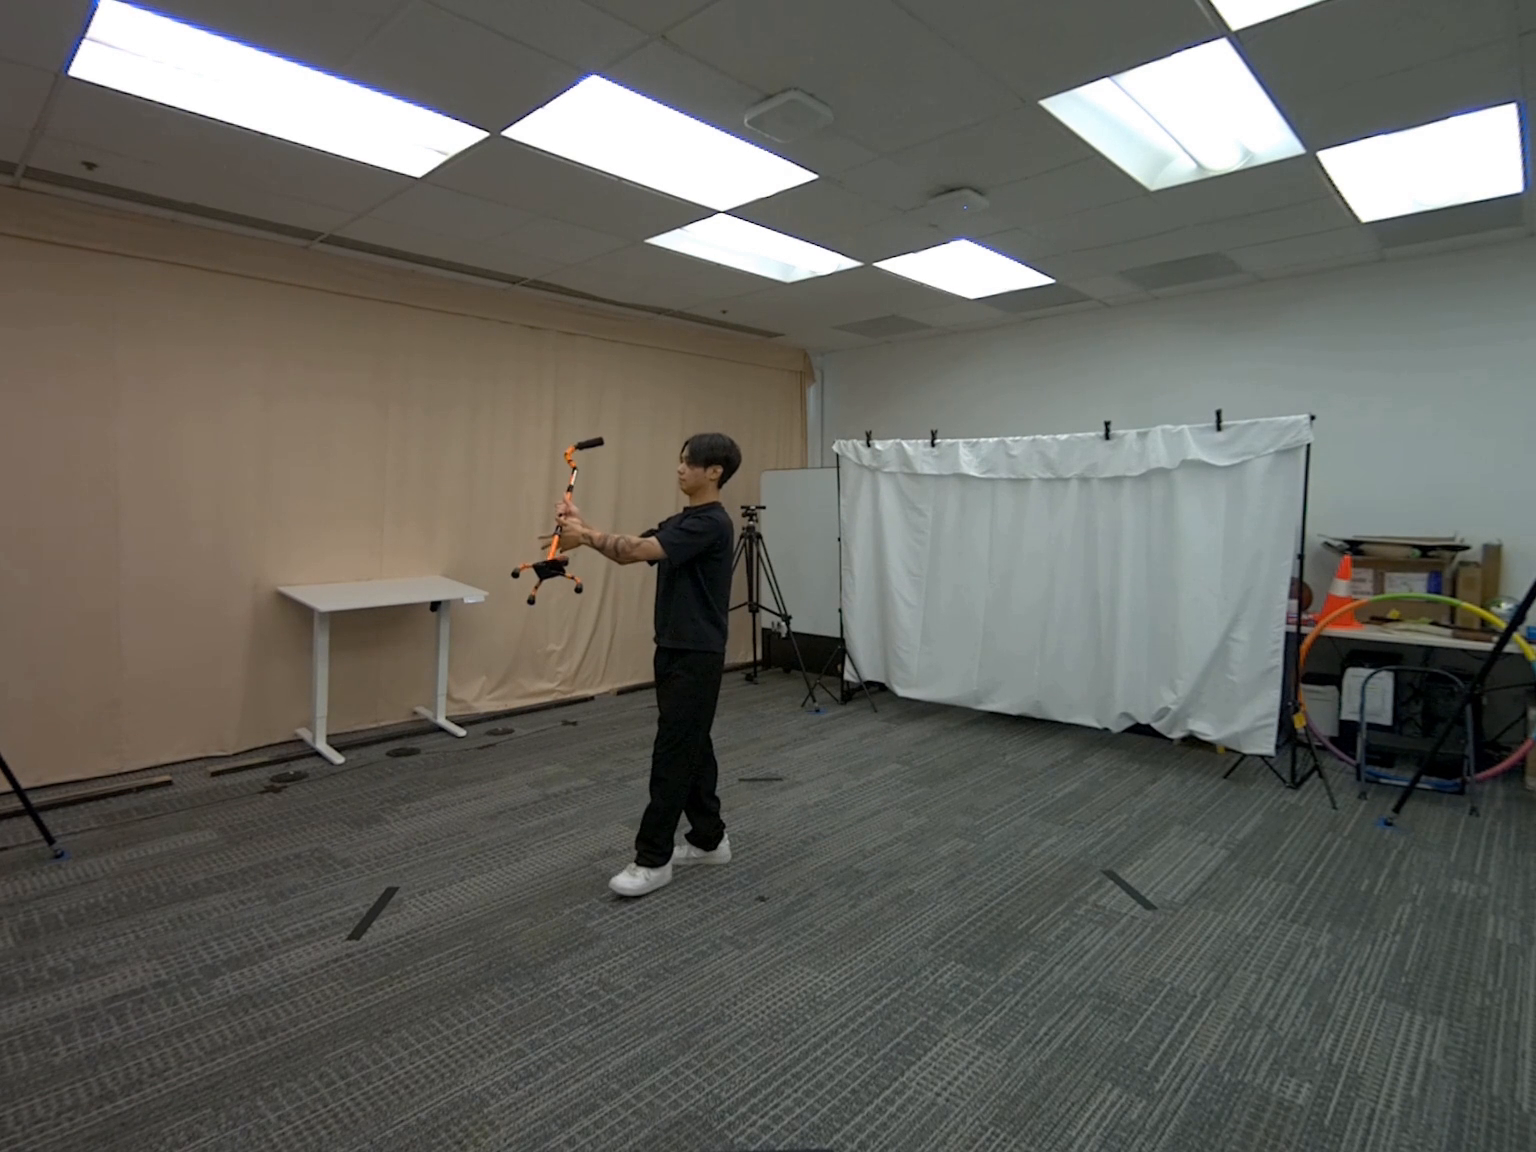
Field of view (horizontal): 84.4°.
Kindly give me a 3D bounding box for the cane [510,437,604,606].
[{"bbox_3d":[-0.754,-0.260,3.191,0.208,0.147,0.925,-14,38,9],"label":"cane"}]
